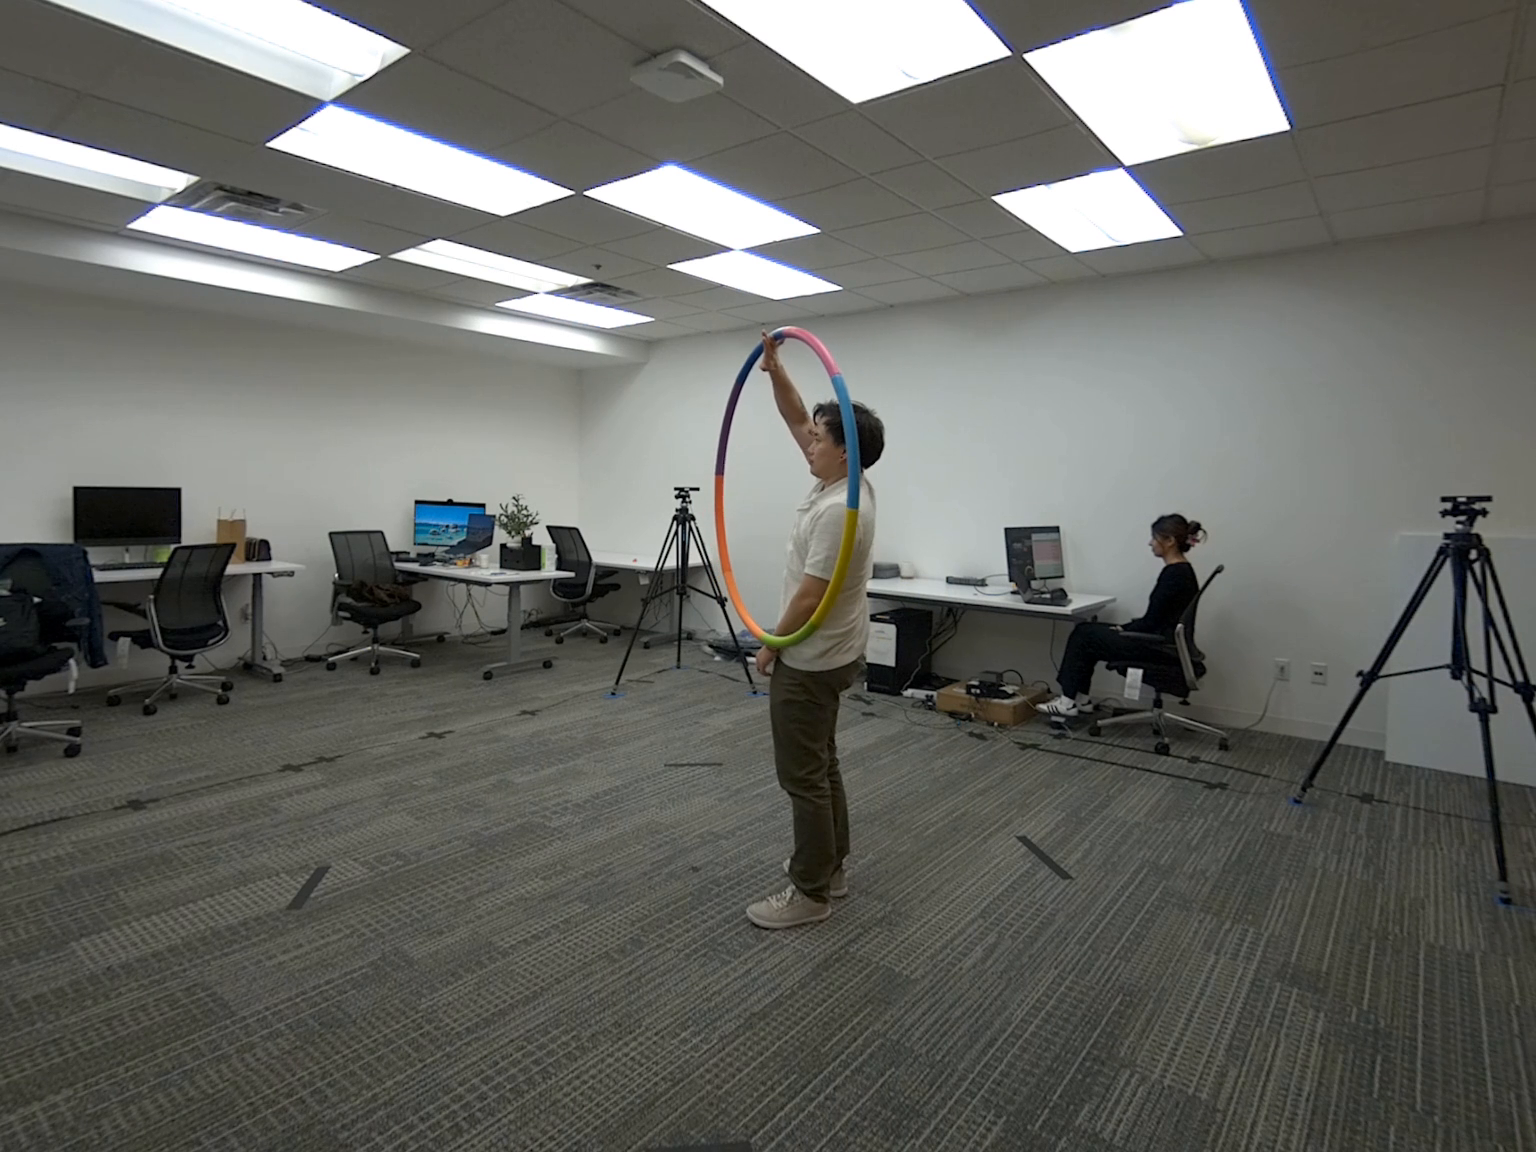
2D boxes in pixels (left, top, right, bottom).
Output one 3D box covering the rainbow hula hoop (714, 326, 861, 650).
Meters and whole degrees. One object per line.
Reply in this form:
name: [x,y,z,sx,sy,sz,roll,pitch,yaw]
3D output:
rainbow hula hoop: [0.007,-0.277,2.673,0.035,0.976,1.005,1,4,-26]
